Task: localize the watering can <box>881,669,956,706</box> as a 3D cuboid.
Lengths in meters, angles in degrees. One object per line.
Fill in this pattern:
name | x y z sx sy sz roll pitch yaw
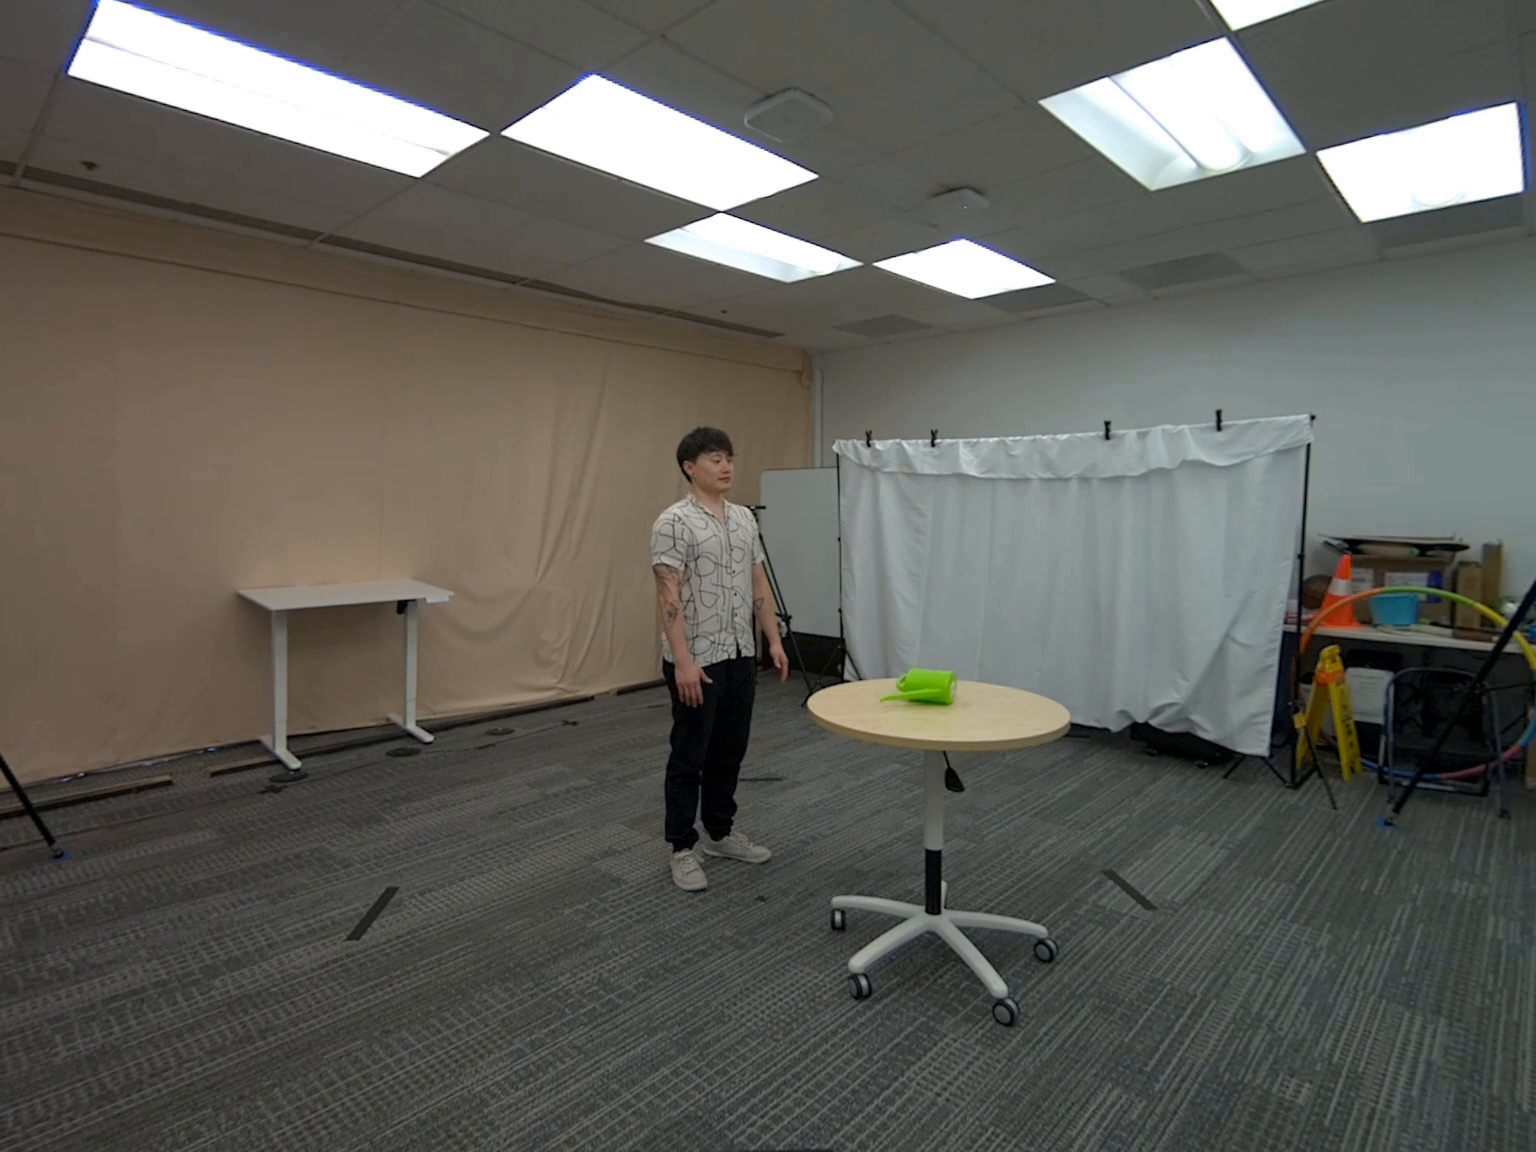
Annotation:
watering can | 0.475 0.359 2.587 0.181 0.096 0.275 1 24 27
